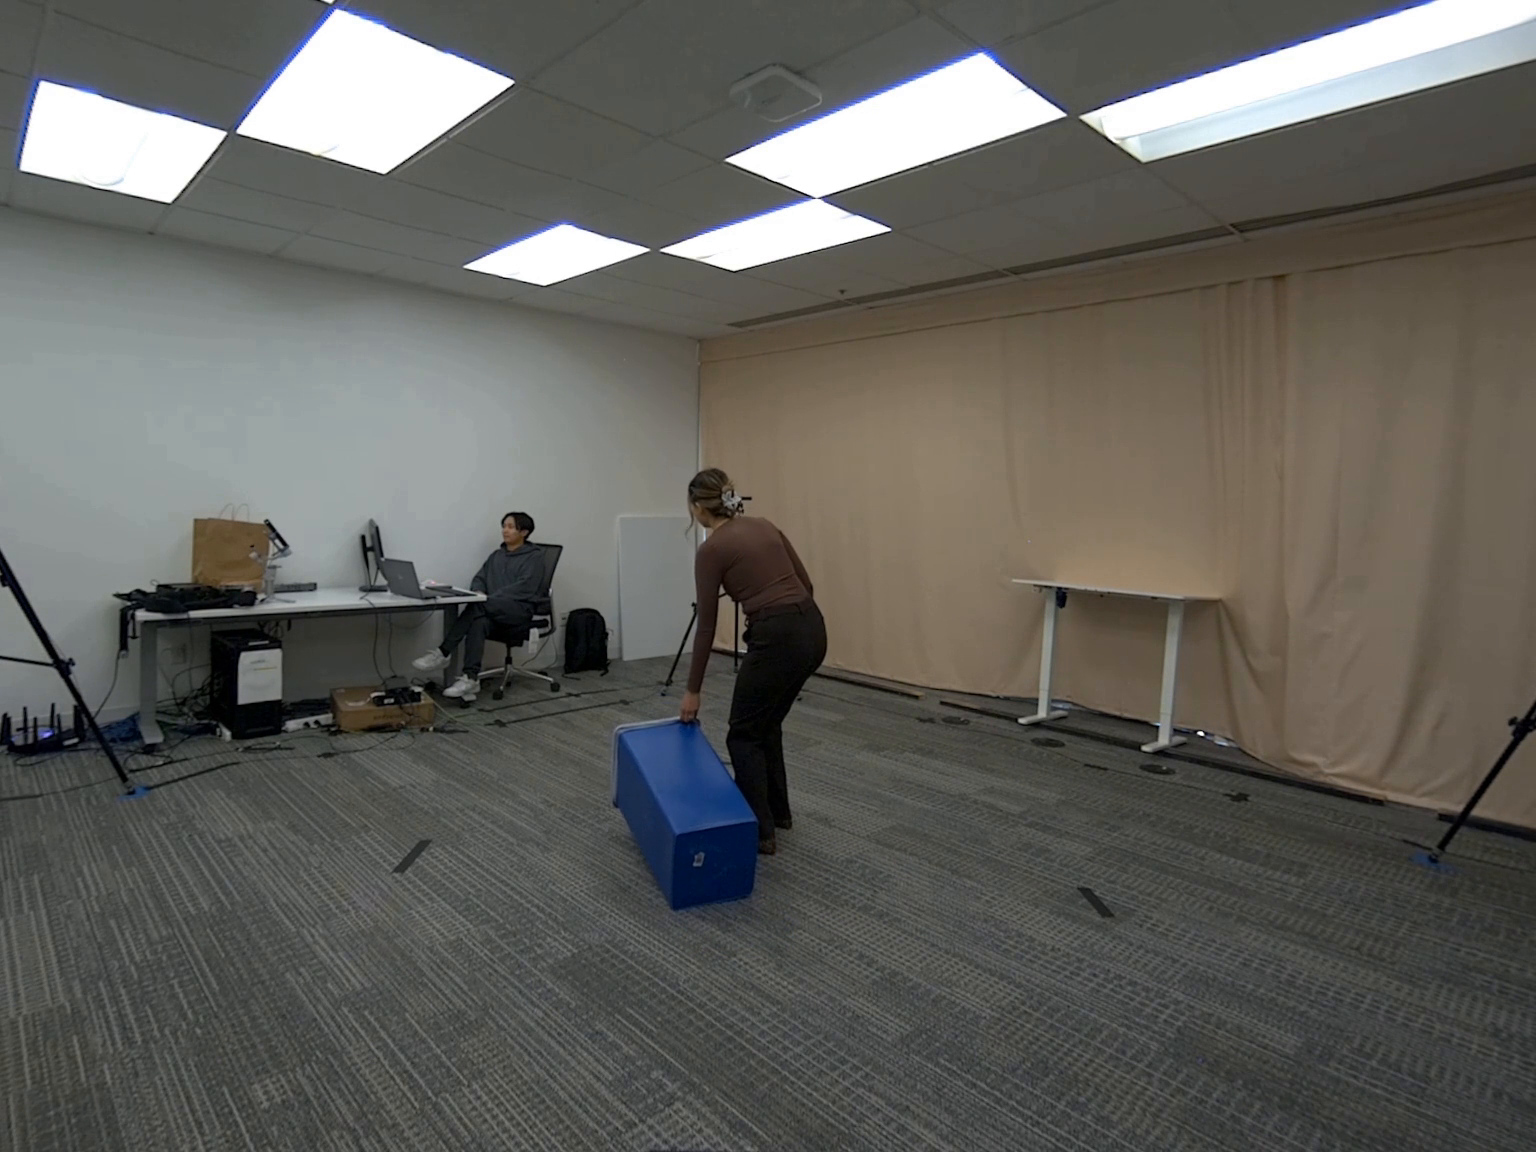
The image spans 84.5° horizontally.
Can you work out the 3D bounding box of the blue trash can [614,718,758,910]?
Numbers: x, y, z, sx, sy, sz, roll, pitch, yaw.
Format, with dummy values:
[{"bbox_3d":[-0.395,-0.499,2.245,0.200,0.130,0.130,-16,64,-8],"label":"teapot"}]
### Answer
[{"bbox_3d":[-0.344,0.872,3.151,0.368,0.374,0.732,-2,16,-24],"label":"blue trash can"}]
